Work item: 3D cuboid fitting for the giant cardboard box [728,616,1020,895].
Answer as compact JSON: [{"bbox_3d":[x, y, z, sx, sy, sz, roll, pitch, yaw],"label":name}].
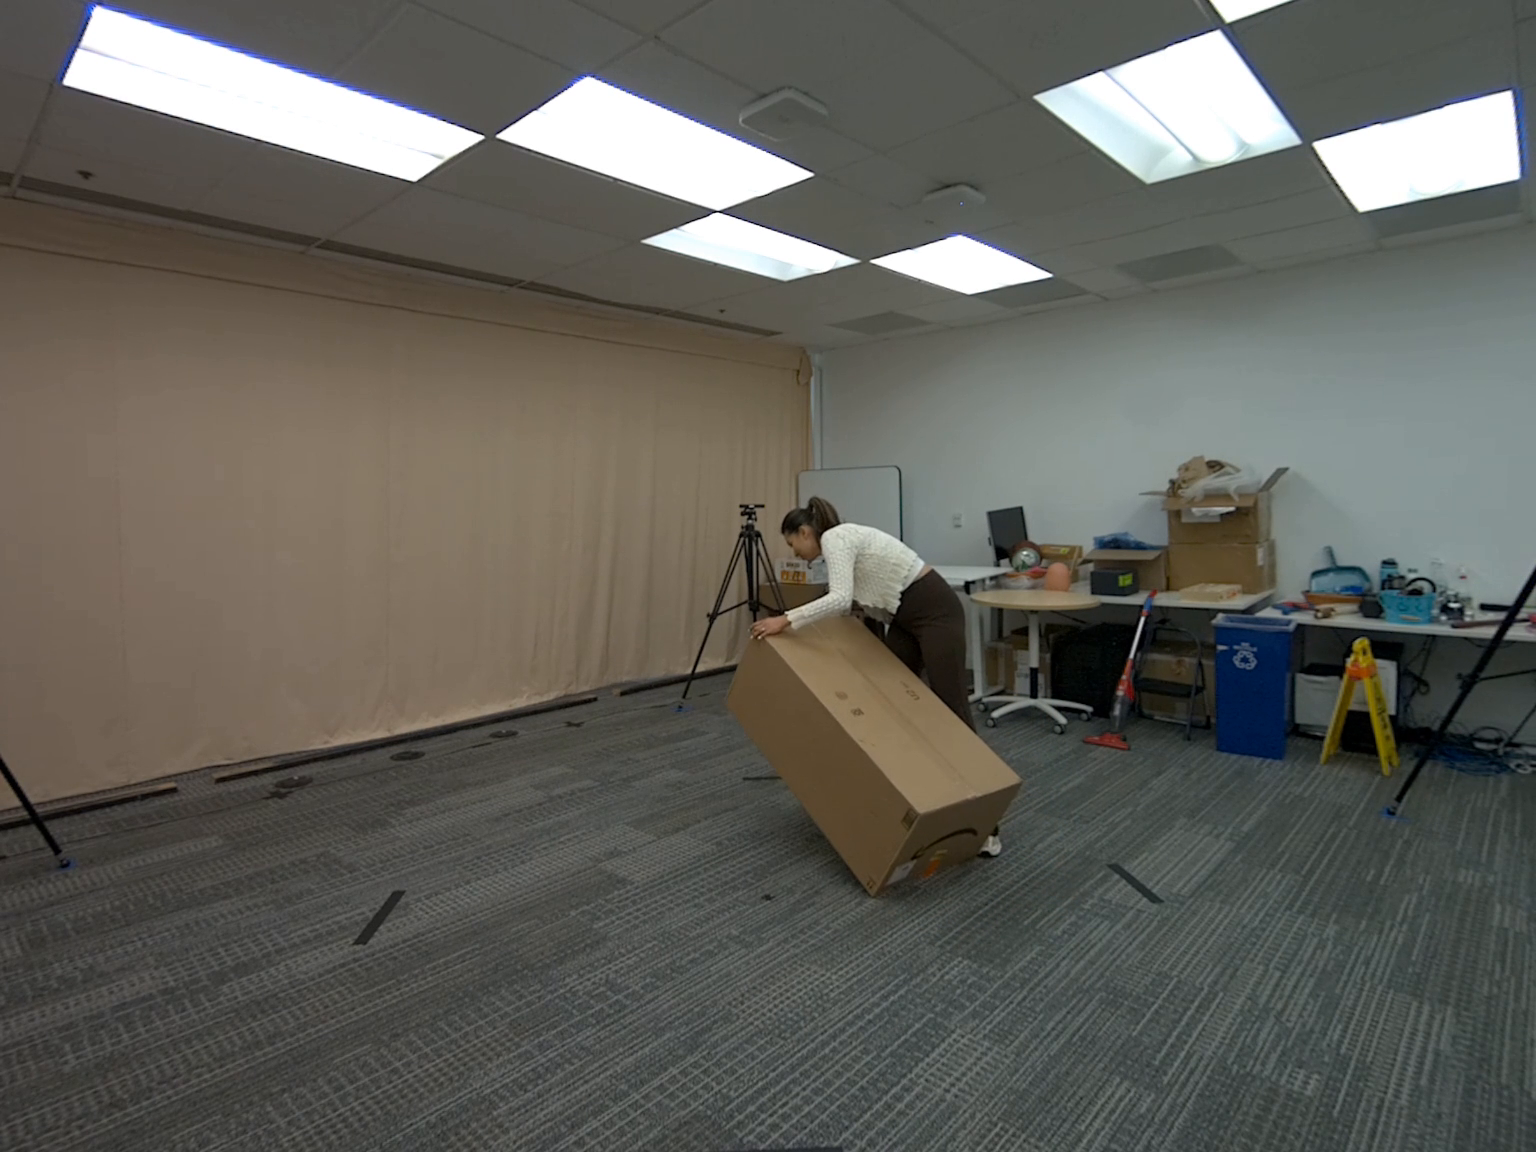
[{"bbox_3d":[0.375,0.653,3.363,0.560,0.424,1.062,-4,36,-37],"label":"giant cardboard box"}]
